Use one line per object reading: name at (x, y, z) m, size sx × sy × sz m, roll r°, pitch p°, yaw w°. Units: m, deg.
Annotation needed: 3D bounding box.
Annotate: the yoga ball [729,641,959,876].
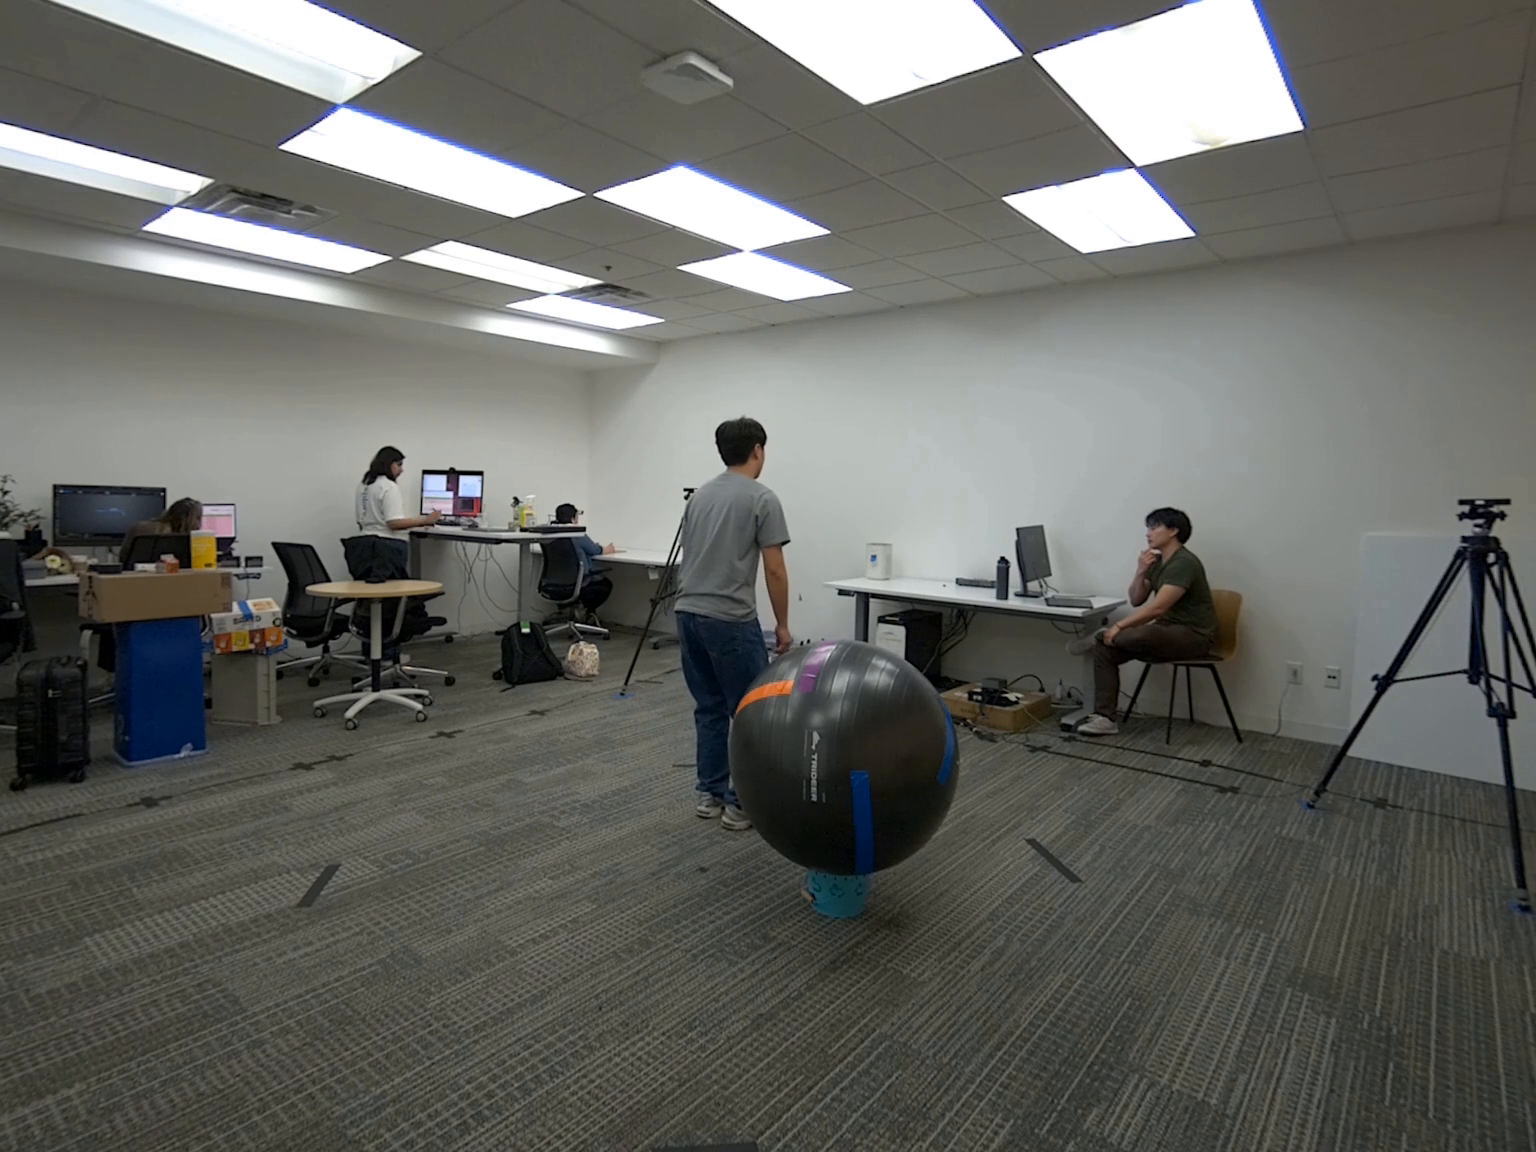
yoga ball at (0.228, 0.591, 2.842) m, size 0.757 × 0.756 × 0.762 m, roll 1°, pitch 4°, yaw -2°
